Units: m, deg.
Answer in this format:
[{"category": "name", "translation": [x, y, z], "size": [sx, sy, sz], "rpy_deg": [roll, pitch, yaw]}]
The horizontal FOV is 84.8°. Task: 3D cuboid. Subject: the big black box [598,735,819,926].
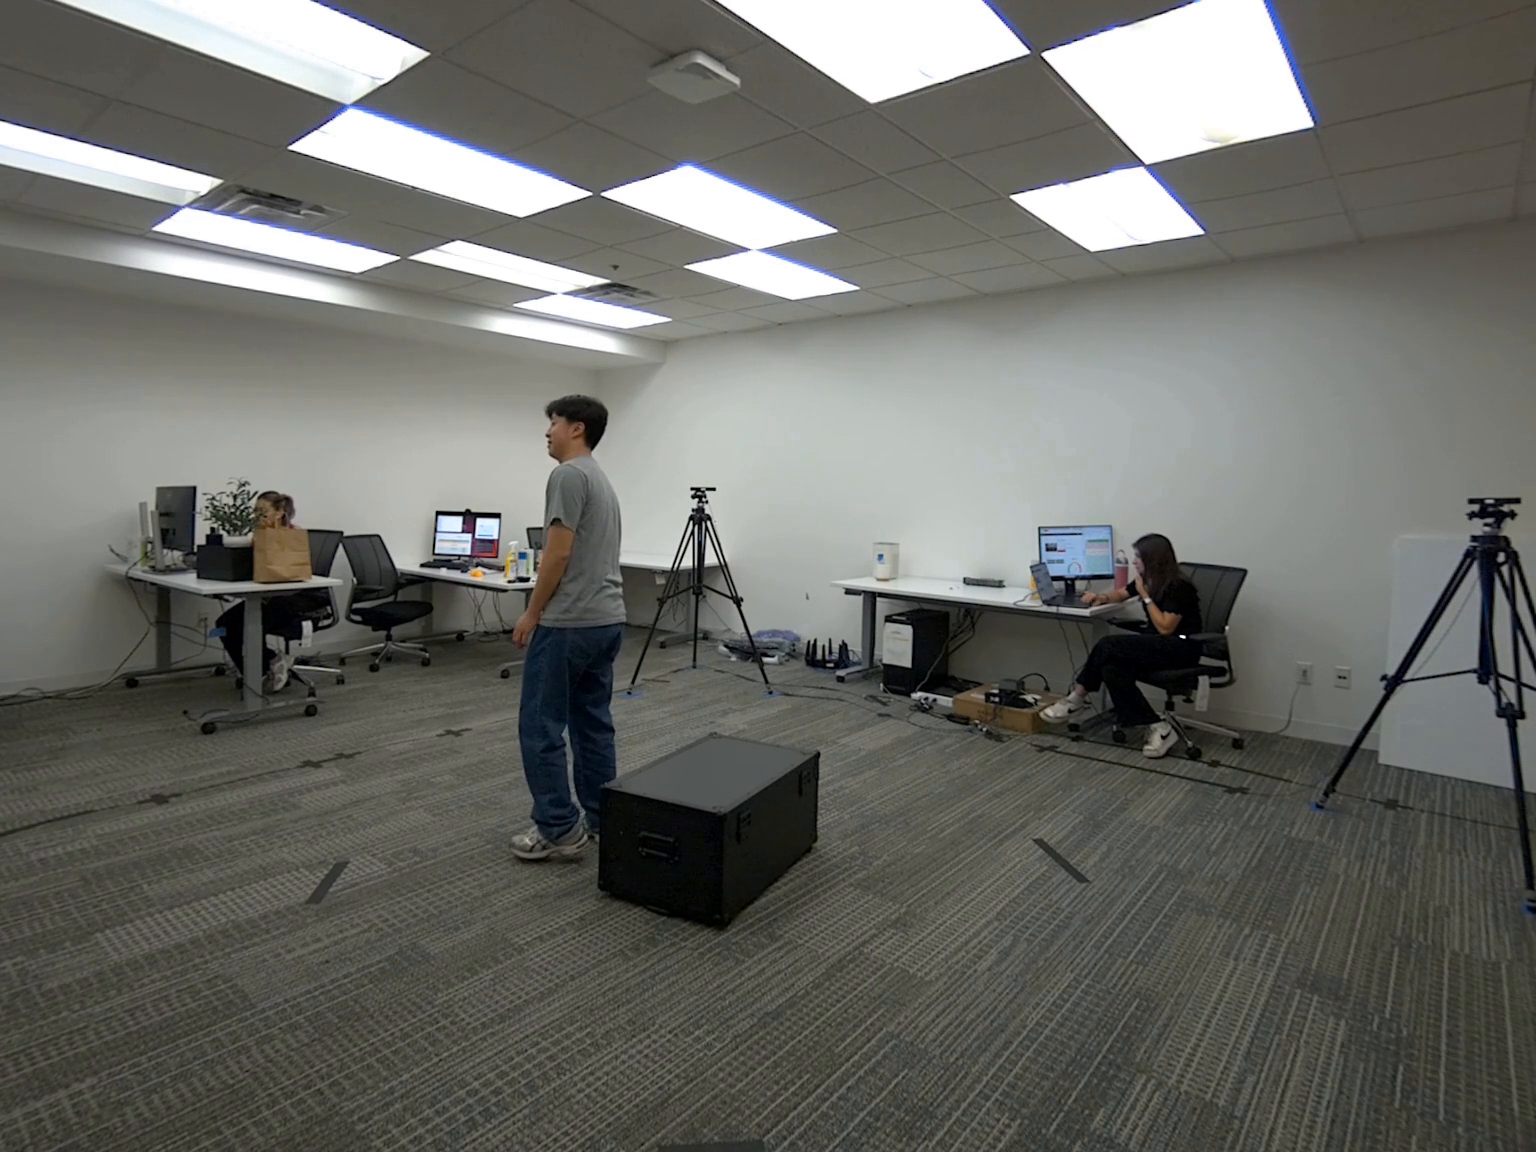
[{"category": "big black box", "translation": [-0.180, 0.874, 3.115], "size": [0.535, 0.395, 0.842], "rpy_deg": [3, 6, 27]}]
